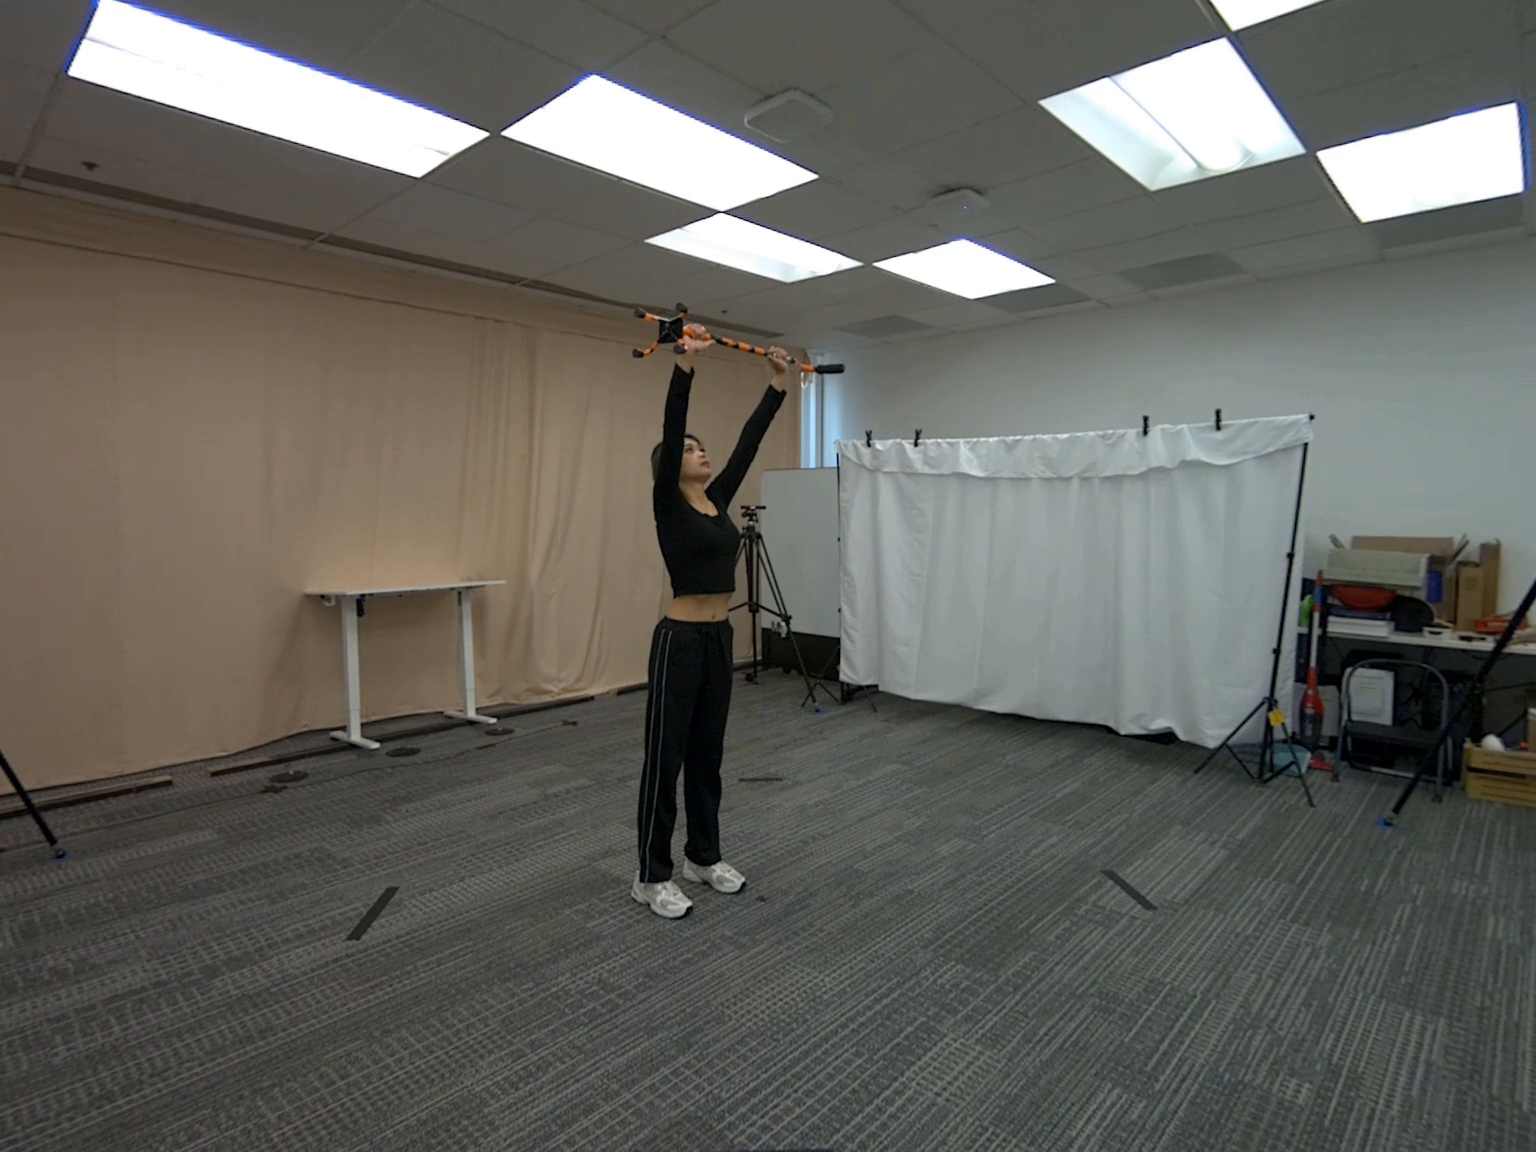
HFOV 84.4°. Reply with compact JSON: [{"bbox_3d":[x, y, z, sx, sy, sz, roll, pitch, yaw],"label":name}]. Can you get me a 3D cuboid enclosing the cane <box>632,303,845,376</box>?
[{"bbox_3d":[-0.057,-0.762,2.878,0.213,0.151,0.880,7,7,39],"label":"cane"}]
